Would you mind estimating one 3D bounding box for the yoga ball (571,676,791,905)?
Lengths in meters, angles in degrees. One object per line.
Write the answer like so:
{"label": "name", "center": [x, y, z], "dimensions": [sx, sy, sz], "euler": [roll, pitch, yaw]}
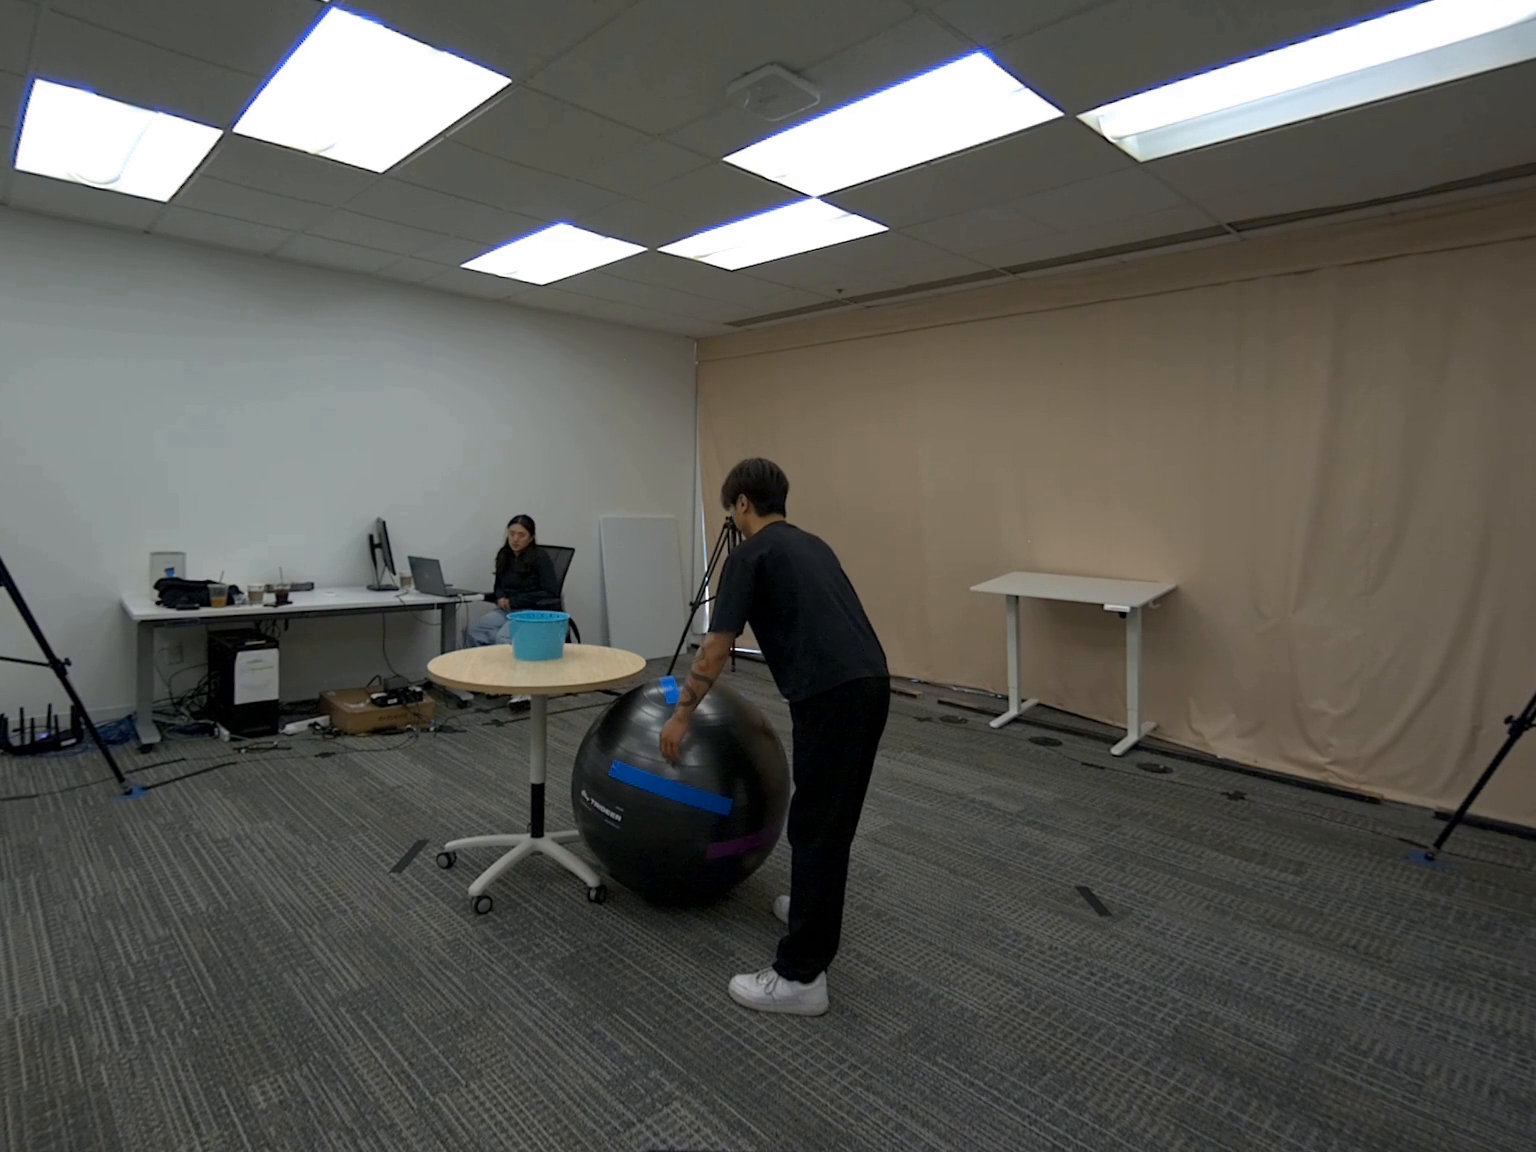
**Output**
{"label": "yoga ball", "center": [-0.308, 0.747, 2.957], "dimensions": [0.757, 0.756, 0.761], "euler": [1, 4, -1]}
